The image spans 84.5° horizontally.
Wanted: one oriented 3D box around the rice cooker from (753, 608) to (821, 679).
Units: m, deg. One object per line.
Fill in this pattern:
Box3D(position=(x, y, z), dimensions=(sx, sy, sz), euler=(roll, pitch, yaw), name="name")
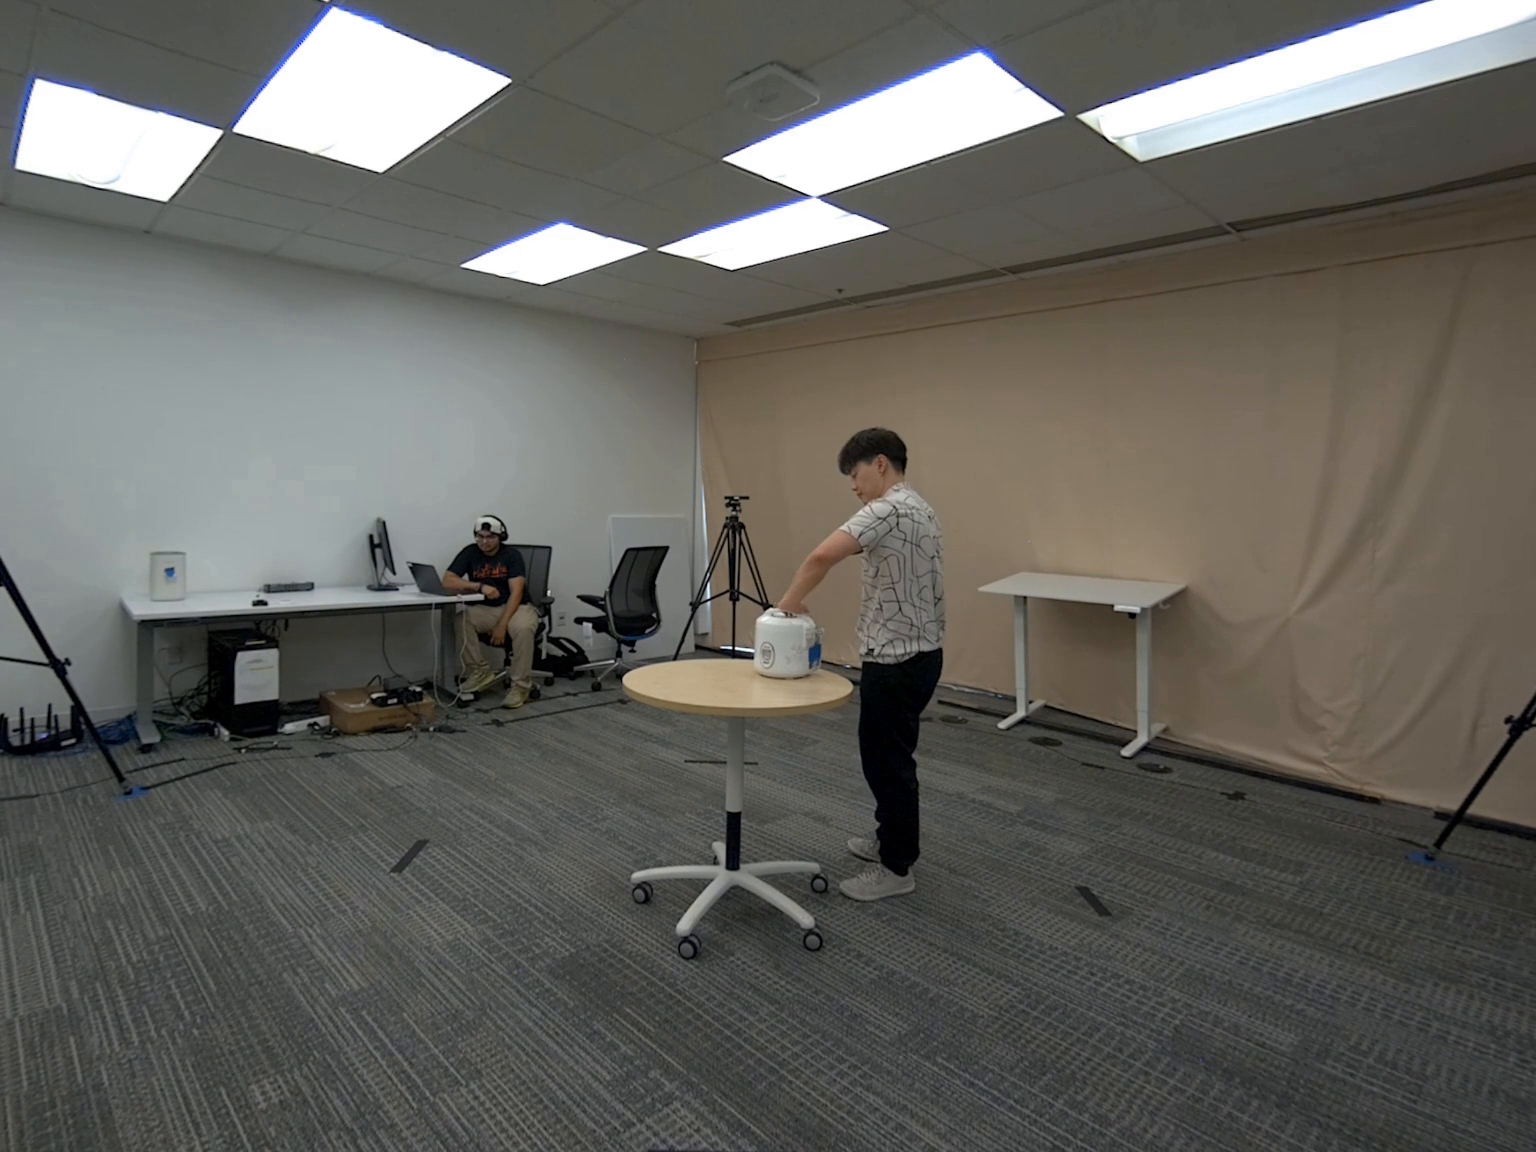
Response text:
Box3D(position=(0.054, 0.227, 2.926), dimensions=(0.226, 0.232, 0.212), euler=(4, 3, 36), name="rice cooker")
